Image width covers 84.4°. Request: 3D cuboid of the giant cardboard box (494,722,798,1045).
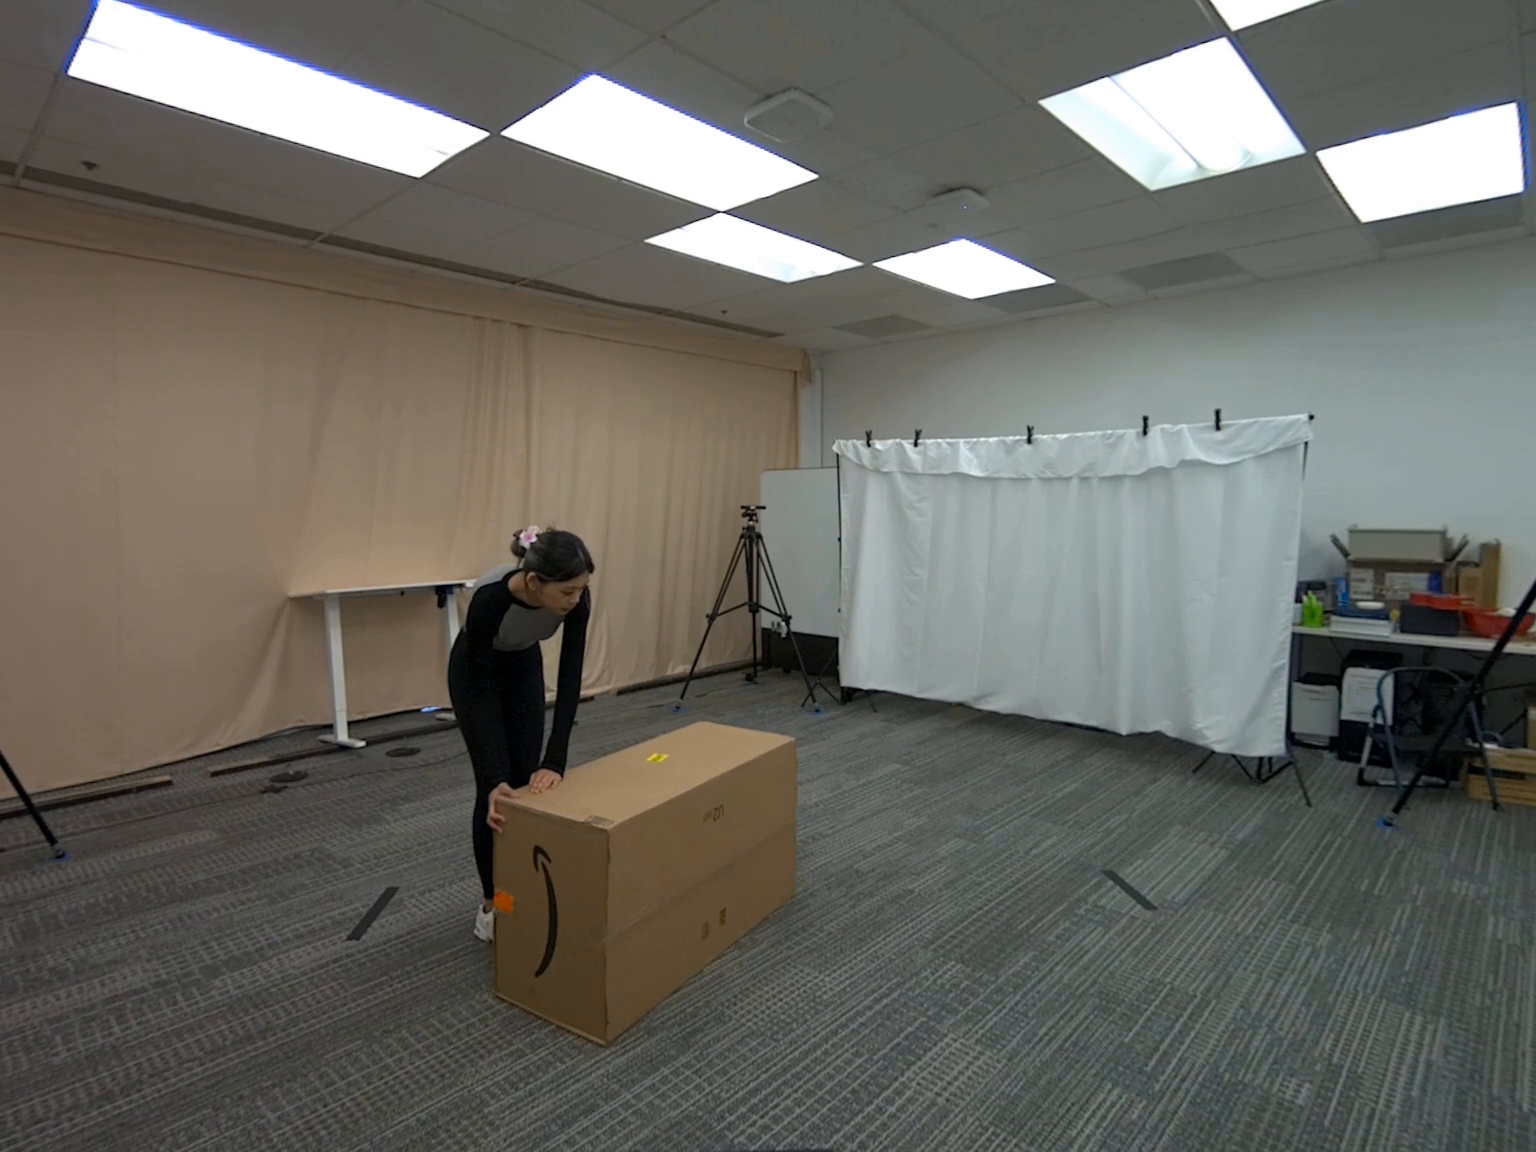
[{"bbox_3d":[-0.334,0.884,2.691,0.460,0.583,0.999,1,4,31],"label":"giant cardboard box"}]
